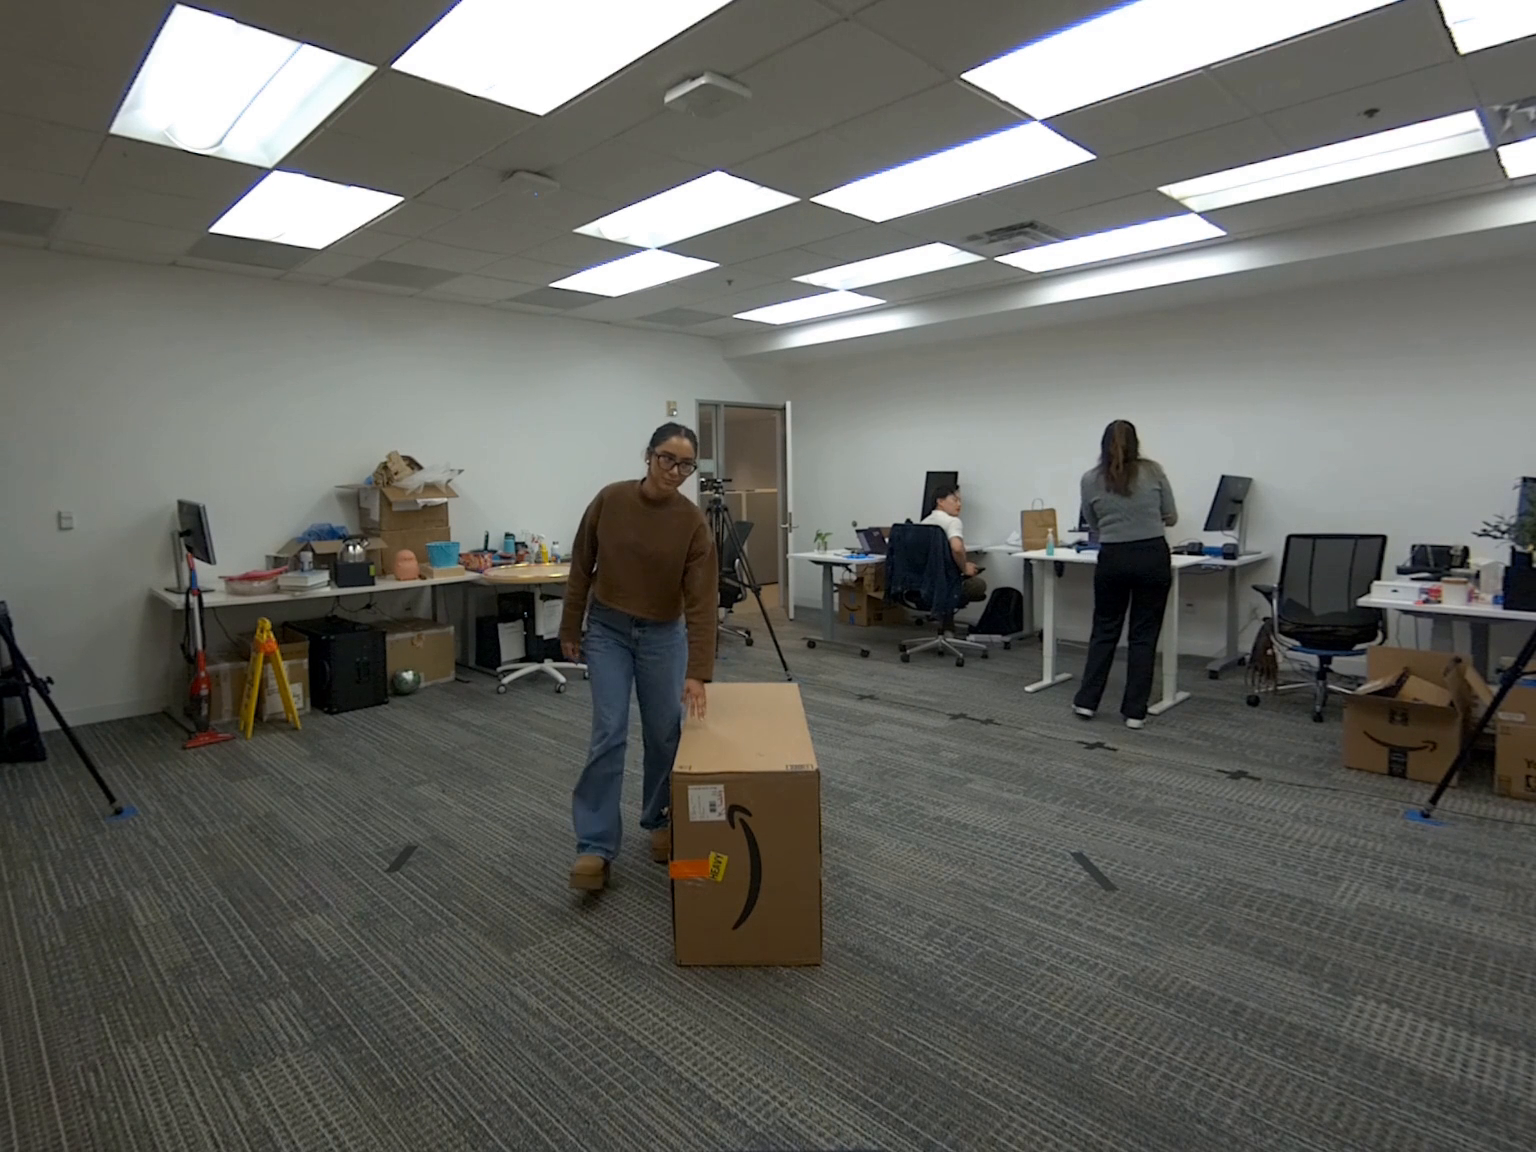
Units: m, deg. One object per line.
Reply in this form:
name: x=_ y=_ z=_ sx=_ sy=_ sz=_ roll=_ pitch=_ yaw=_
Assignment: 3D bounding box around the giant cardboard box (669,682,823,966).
giant cardboard box: x=-0.072 y=0.777 z=2.939 sx=0.447 sy=0.581 sz=1.031 roll=0 pitch=6 yaw=-1
